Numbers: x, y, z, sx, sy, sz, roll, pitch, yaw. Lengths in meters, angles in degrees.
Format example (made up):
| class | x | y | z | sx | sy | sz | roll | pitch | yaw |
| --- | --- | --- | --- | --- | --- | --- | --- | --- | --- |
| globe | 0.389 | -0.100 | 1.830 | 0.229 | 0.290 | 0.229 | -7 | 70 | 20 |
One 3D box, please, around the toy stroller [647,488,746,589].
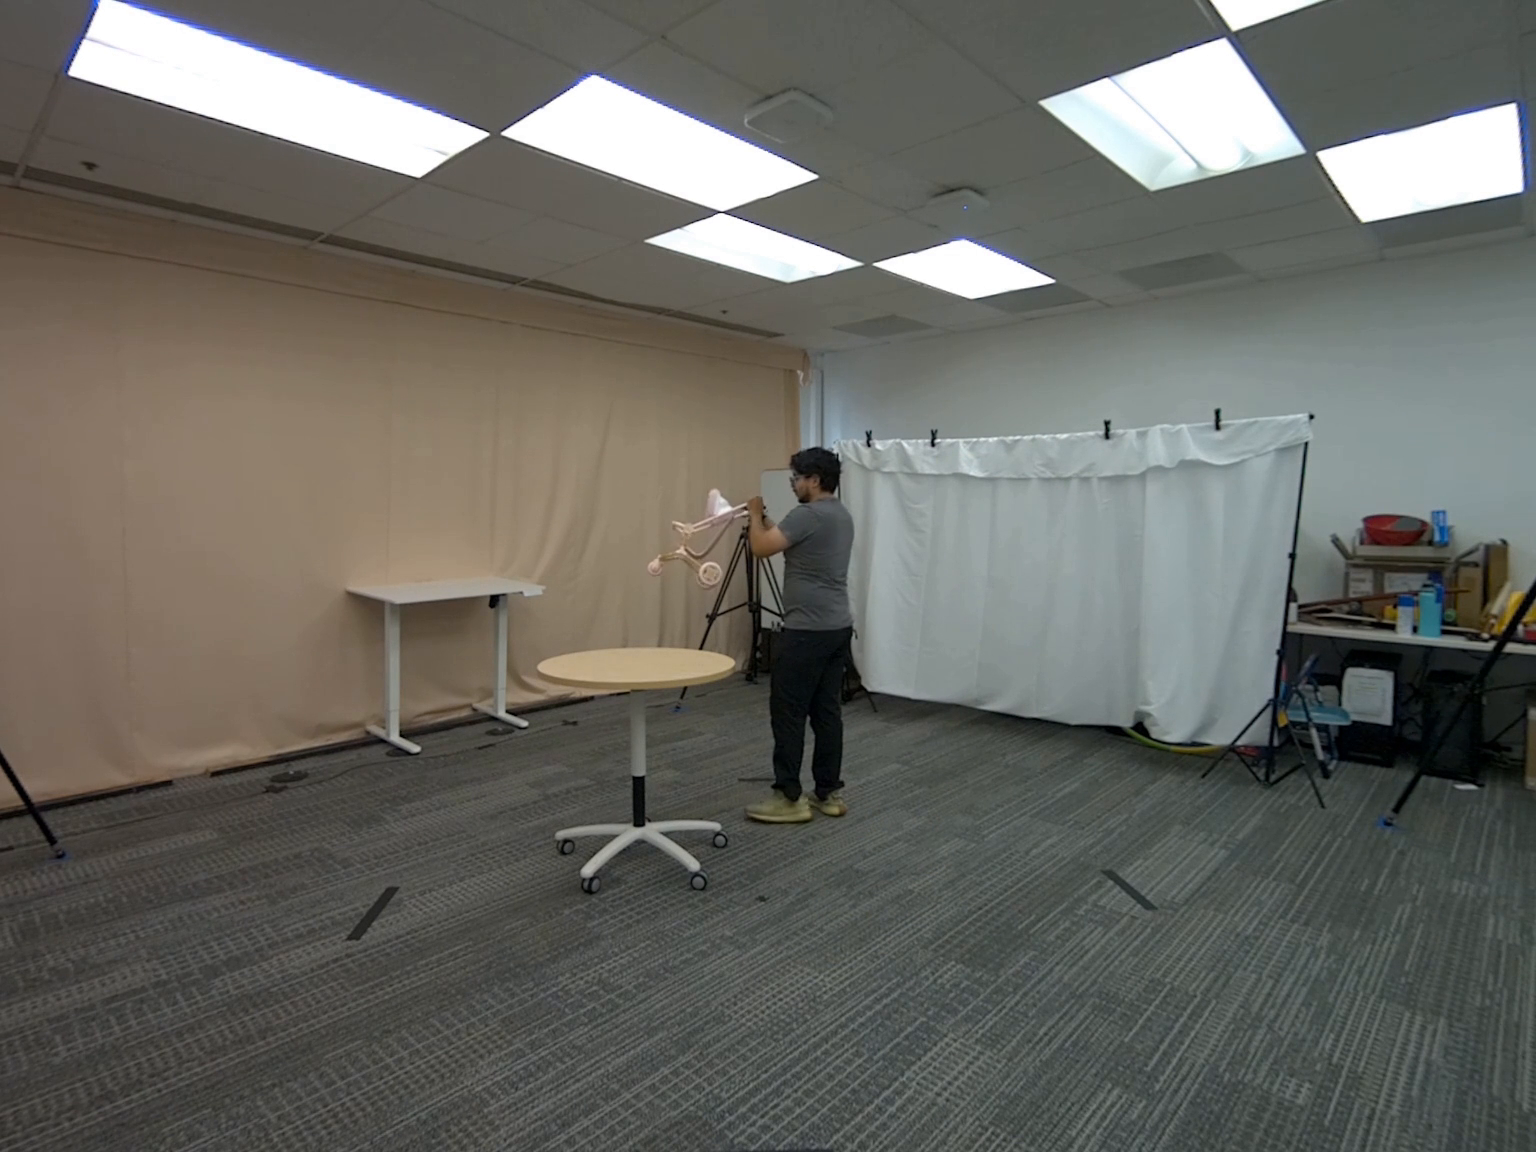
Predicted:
| class | x | y | z | sx | sy | sz | roll | pitch | yaw |
| --- | --- | --- | --- | --- | --- | --- | --- | --- | --- |
| toy stroller | -0.313 | -0.185 | 4.022 | 0.342 | 0.535 | 0.280 | 25 | -6 | 2 |
